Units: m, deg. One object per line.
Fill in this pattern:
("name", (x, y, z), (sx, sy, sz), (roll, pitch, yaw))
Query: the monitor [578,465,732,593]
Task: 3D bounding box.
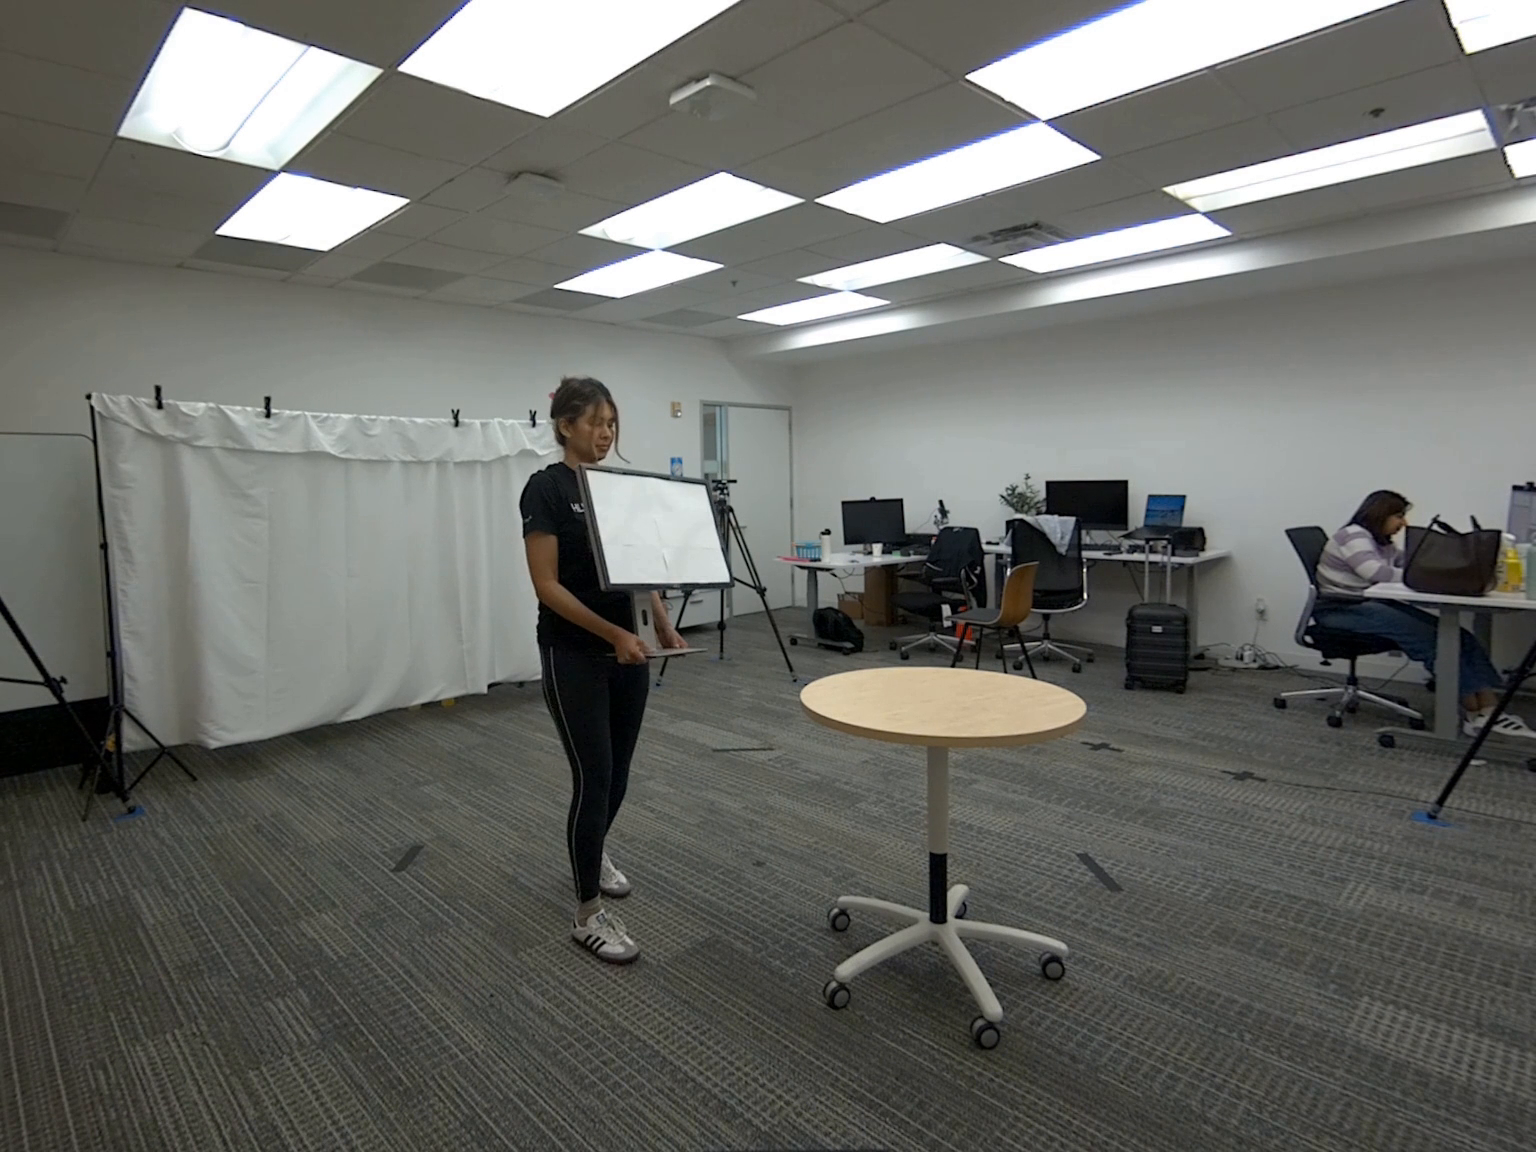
("monitor", (-0.337, -0.044, 2.526), (0.191, 0.525, 0.523), (-8, -6, 36))
